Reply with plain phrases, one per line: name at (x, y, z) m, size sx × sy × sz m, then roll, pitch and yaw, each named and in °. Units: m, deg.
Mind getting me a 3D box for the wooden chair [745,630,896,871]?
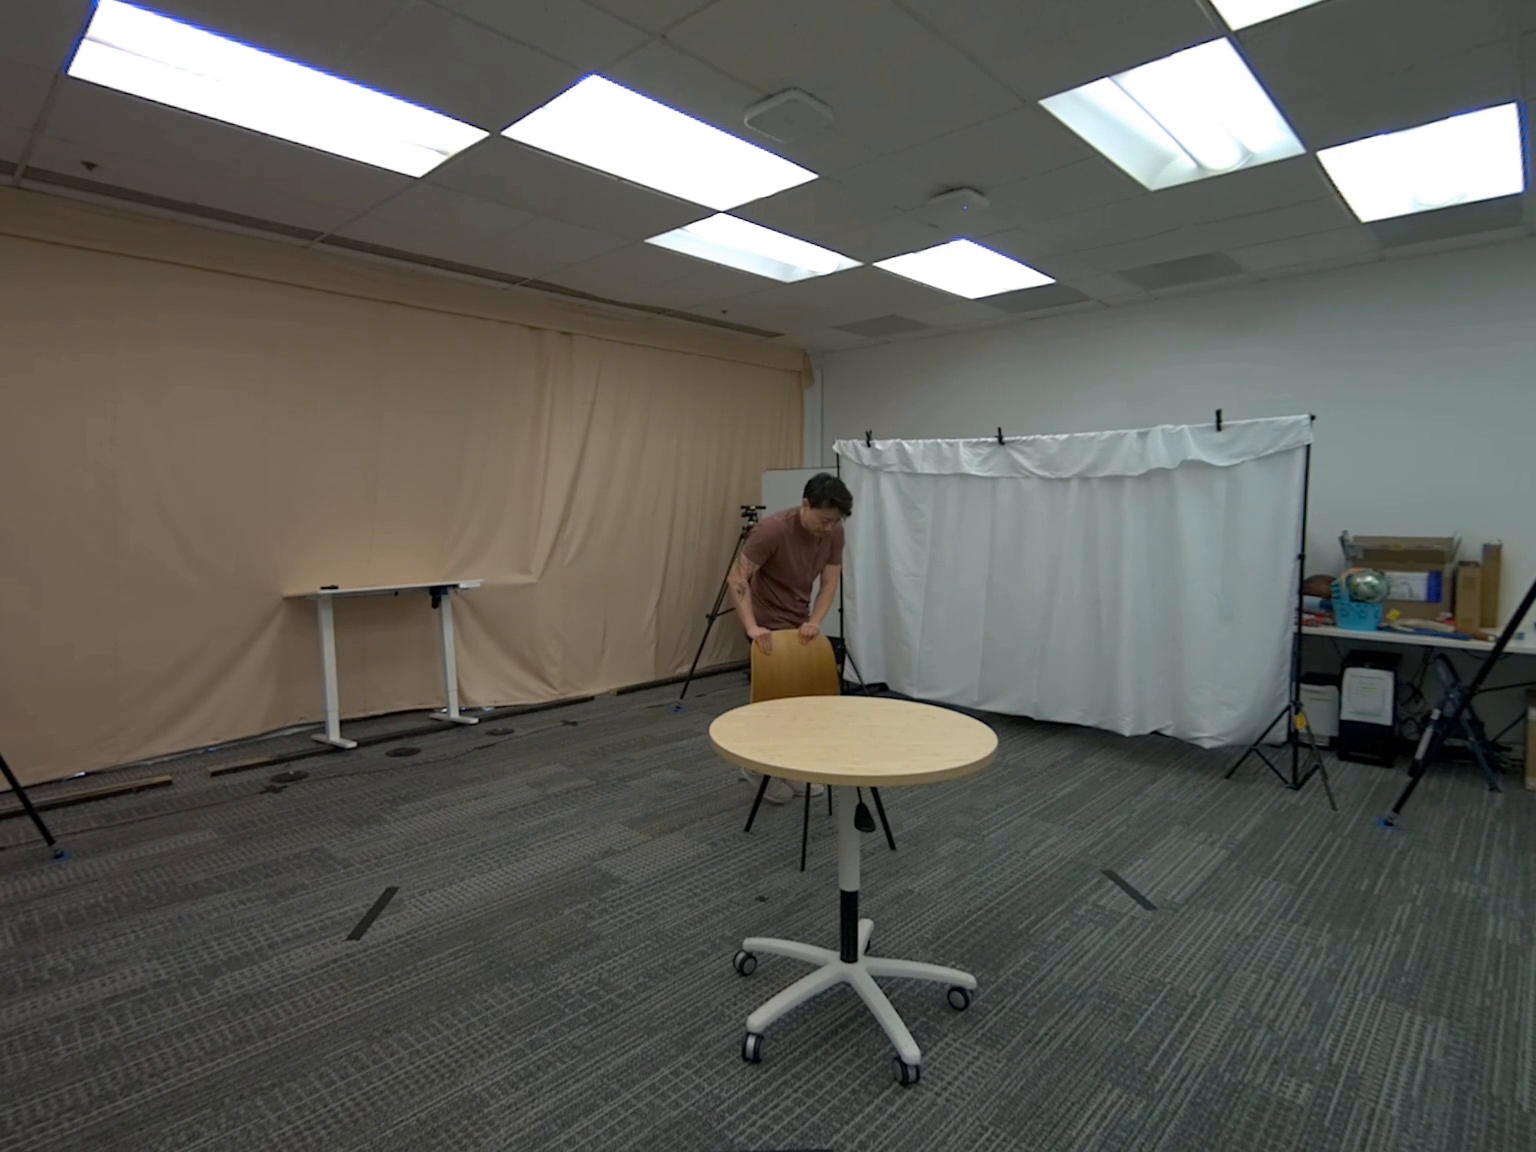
wooden chair at (0.212, 0.671, 3.462) m, size 0.465 × 0.878 × 0.537 m, roll -1°, pitch -1°, yaw -29°
